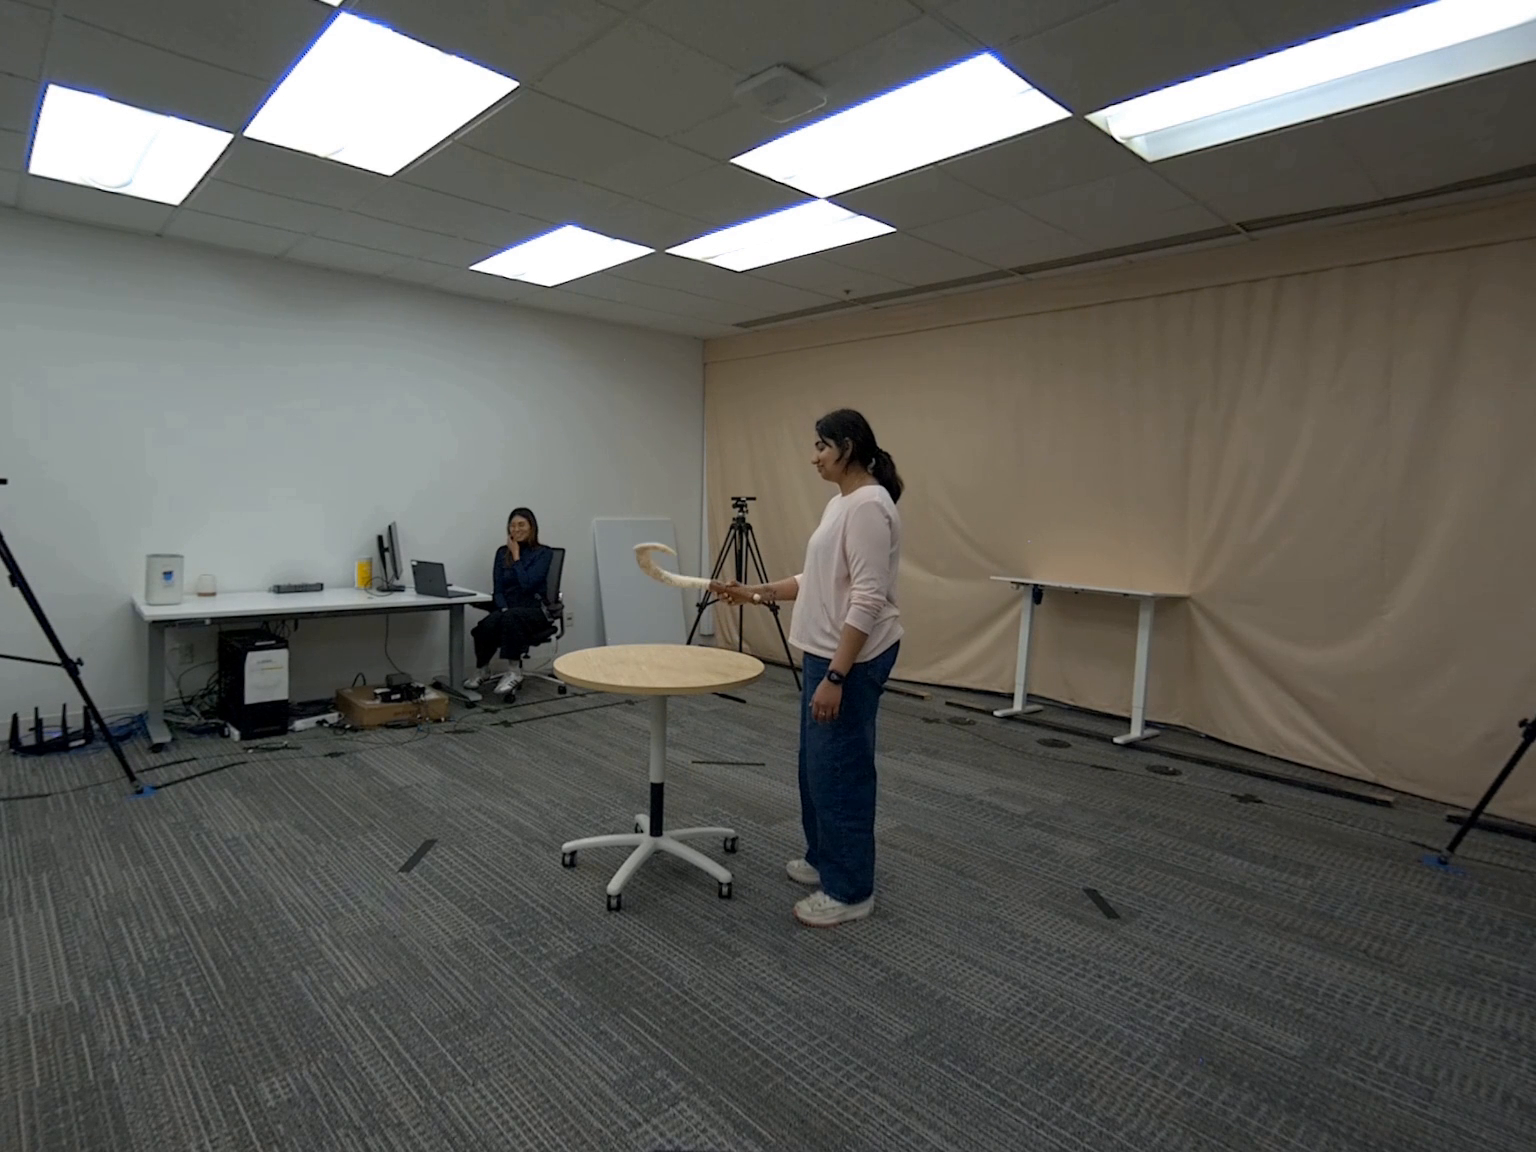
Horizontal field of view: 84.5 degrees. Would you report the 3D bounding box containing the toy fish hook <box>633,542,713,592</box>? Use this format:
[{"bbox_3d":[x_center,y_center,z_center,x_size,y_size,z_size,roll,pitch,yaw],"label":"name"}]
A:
[{"bbox_3d":[-0.253,-0.001,2.993,0.517,0.048,0.218,16,-31,22],"label":"toy fish hook"}]
